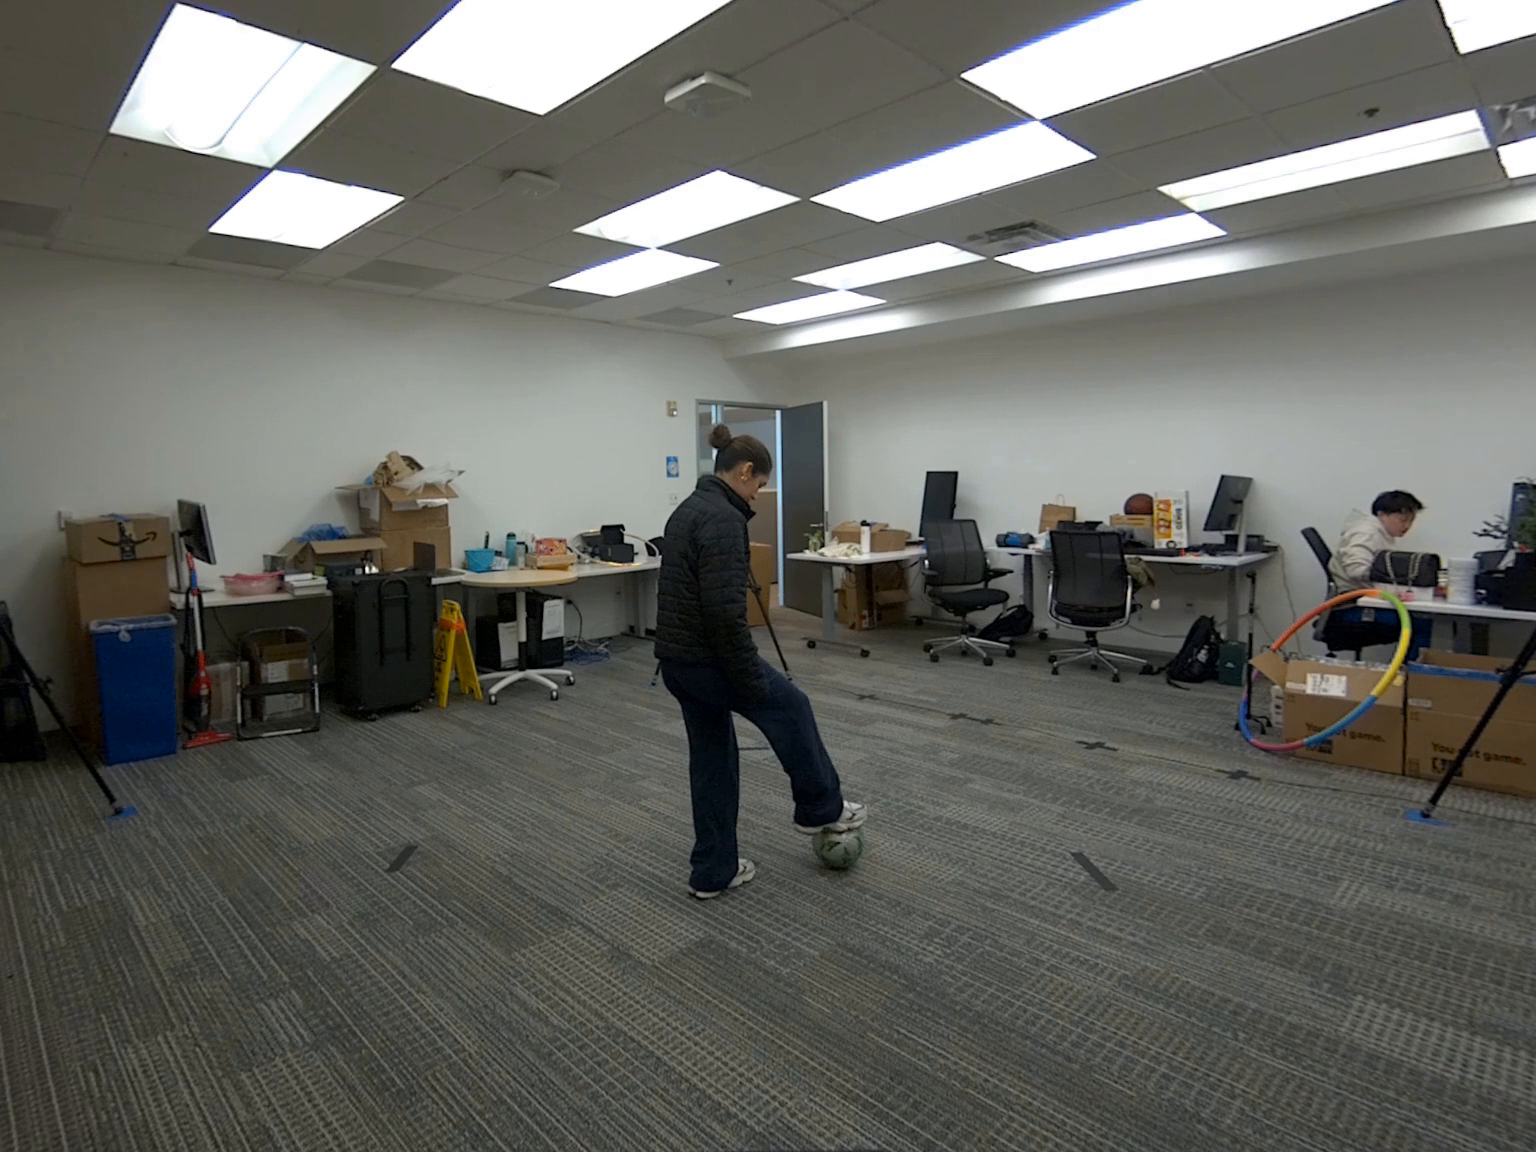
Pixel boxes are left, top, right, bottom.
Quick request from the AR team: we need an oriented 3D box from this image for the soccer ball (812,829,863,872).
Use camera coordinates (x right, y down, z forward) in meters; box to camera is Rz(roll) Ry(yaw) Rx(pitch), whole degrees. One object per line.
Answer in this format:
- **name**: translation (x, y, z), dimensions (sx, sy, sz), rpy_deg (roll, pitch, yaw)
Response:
- **soccer ball**: translation (0.246, 0.949, 3.066), dimensions (0.187, 0.187, 0.188), rpy_deg (-1, 5, -2)
